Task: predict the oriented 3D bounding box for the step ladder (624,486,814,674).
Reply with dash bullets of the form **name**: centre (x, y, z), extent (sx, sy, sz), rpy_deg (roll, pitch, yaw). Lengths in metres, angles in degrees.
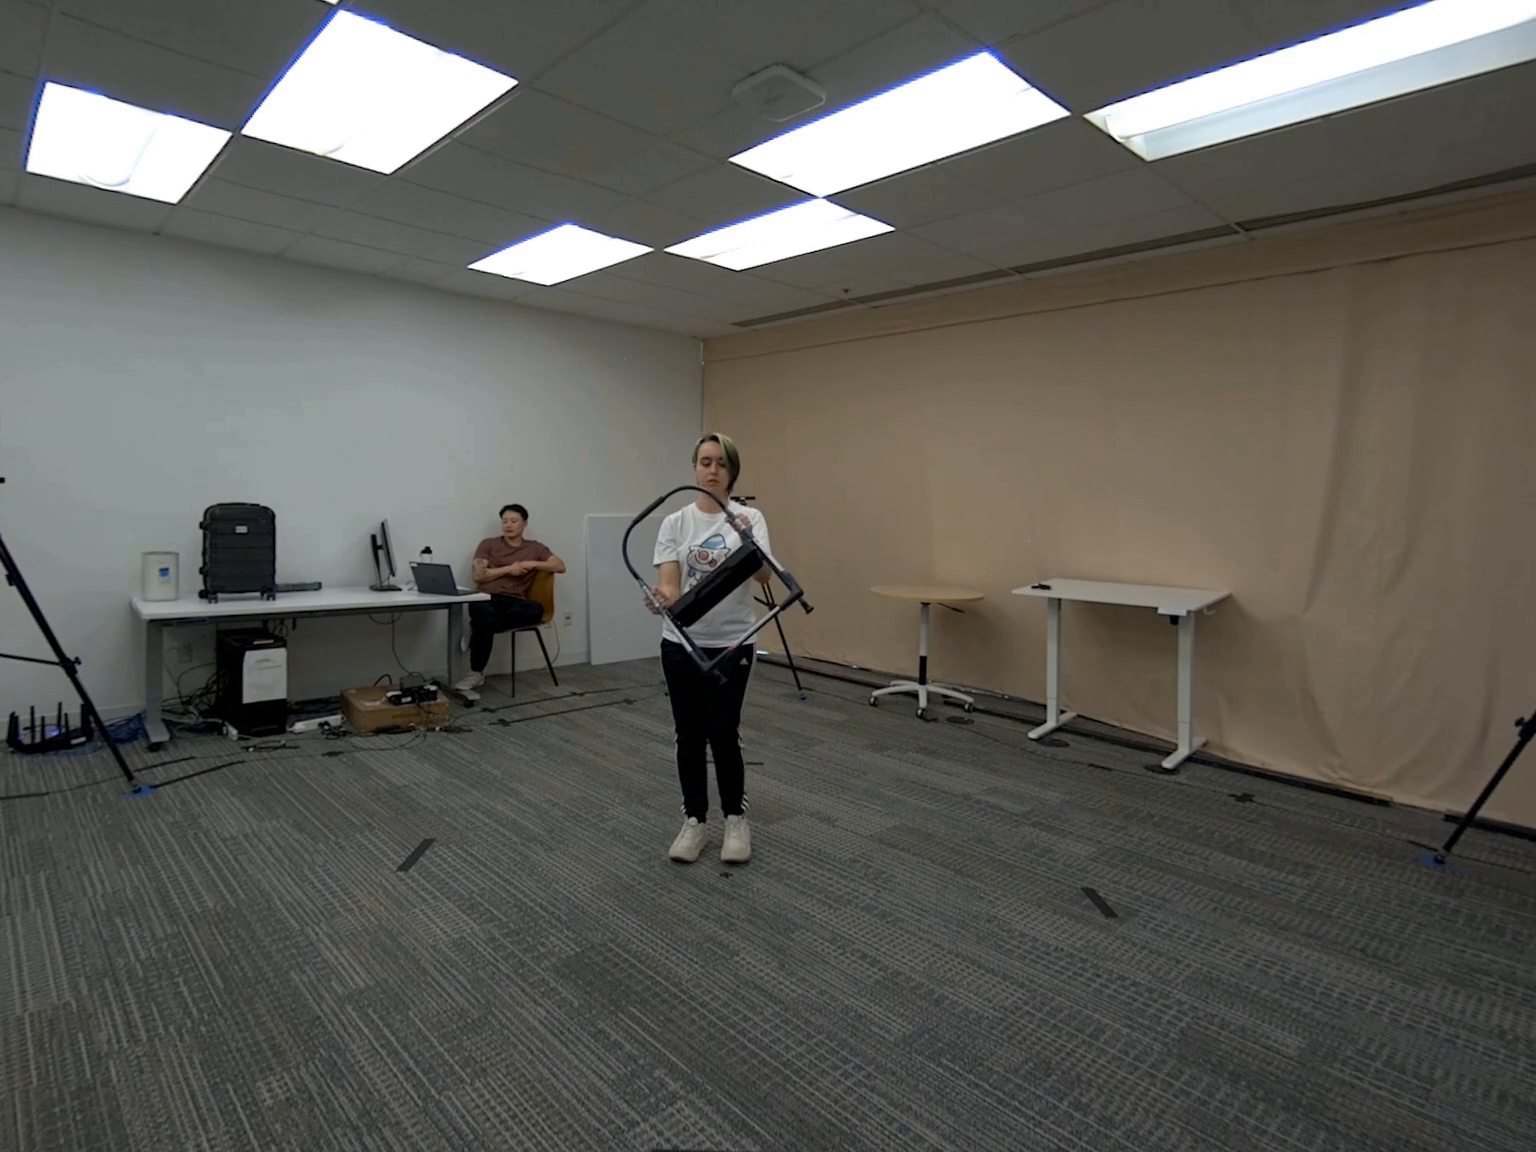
- **step ladder**: centre (-0.215, -0.004, 2.910), extent (0.430, 0.617, 0.343), rpy_deg (-40, -16, -2)
